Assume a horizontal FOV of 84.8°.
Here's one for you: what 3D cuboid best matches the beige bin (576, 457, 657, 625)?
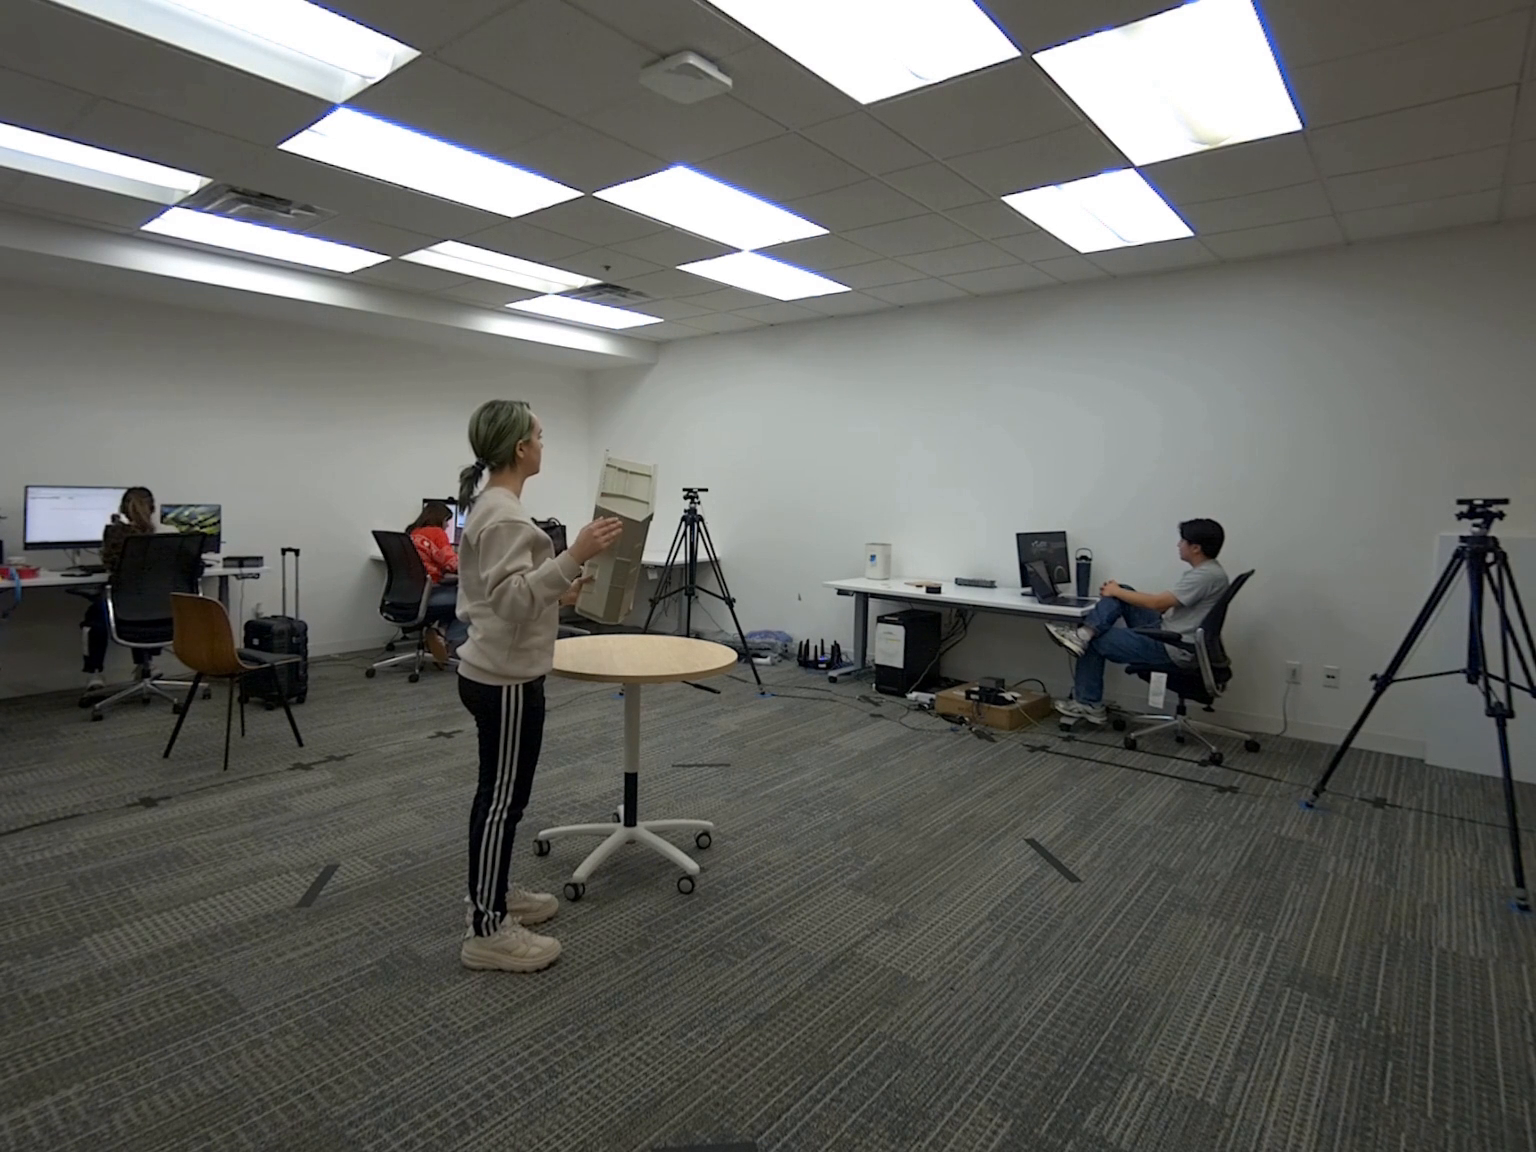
[{"bbox_3d":[-0.504,-0.130,2.759,0.186,0.415,0.389,10,34,-13],"label":"beige bin"}]
